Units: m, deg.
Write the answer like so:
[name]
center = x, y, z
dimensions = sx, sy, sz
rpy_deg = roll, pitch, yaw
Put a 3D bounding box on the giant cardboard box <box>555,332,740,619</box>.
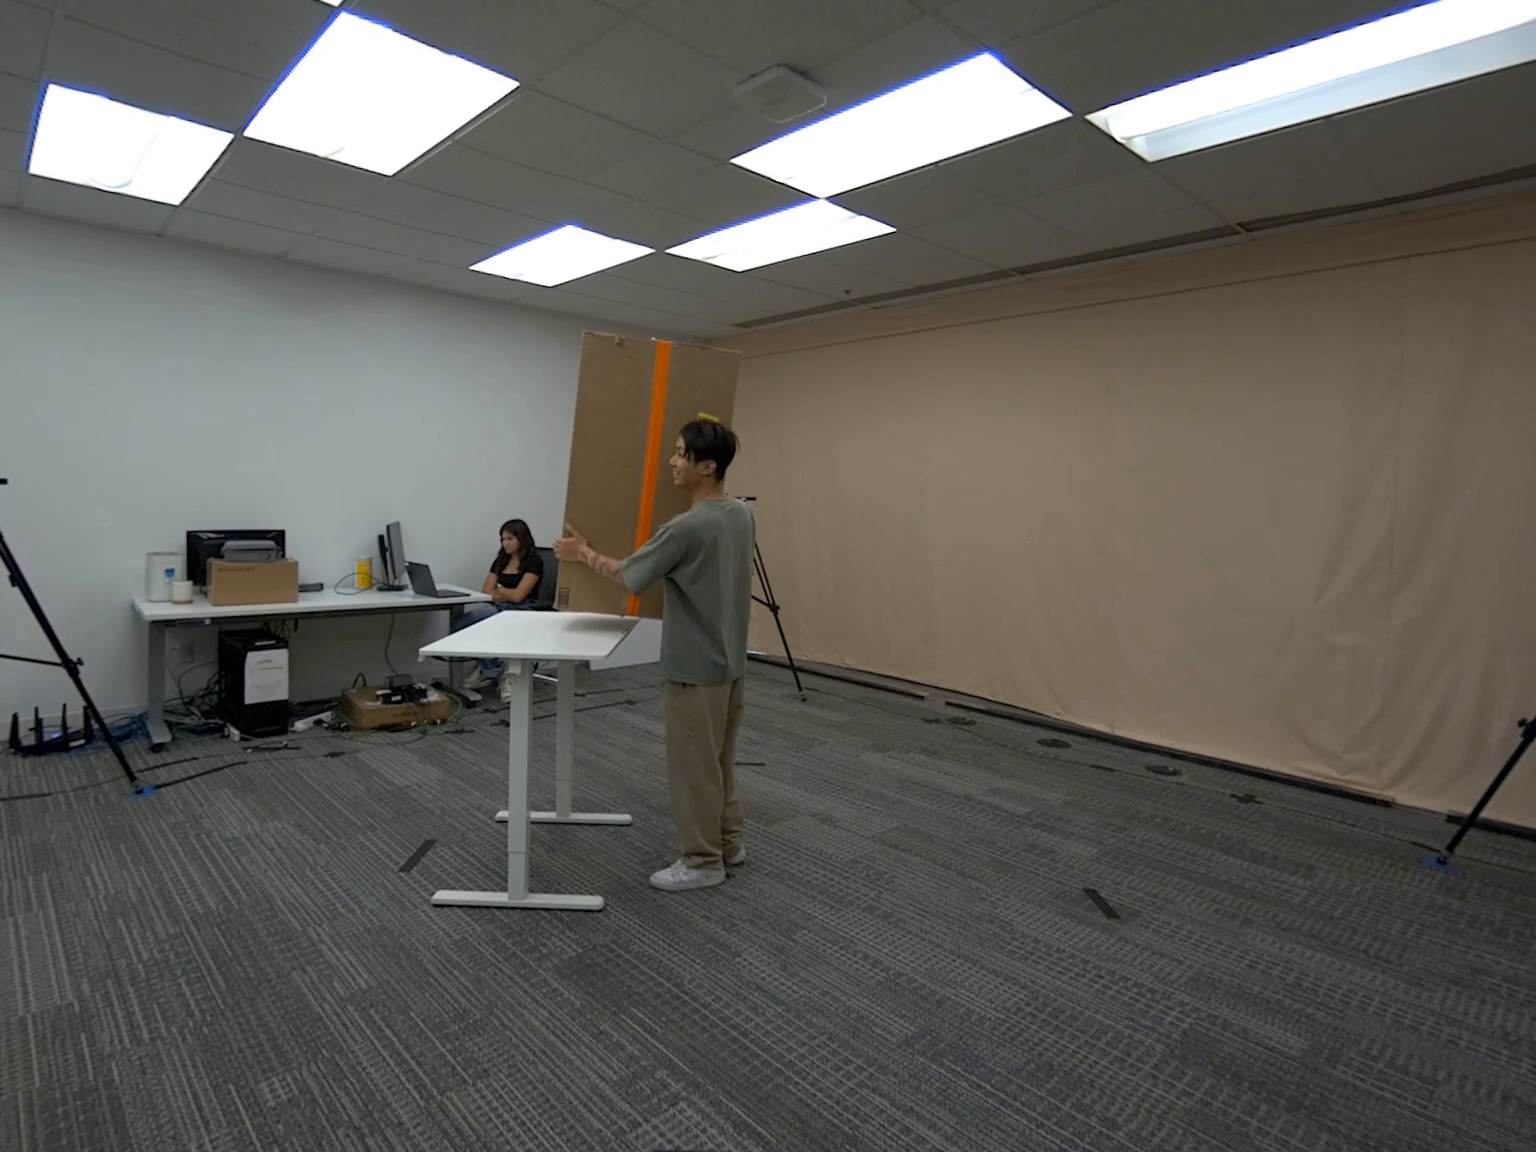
[giant cardboard box]
center = -0.475, -0.379, 3.291
dimensions = 0.574, 1.021, 0.431
rpy_deg = 7, 8, -6
